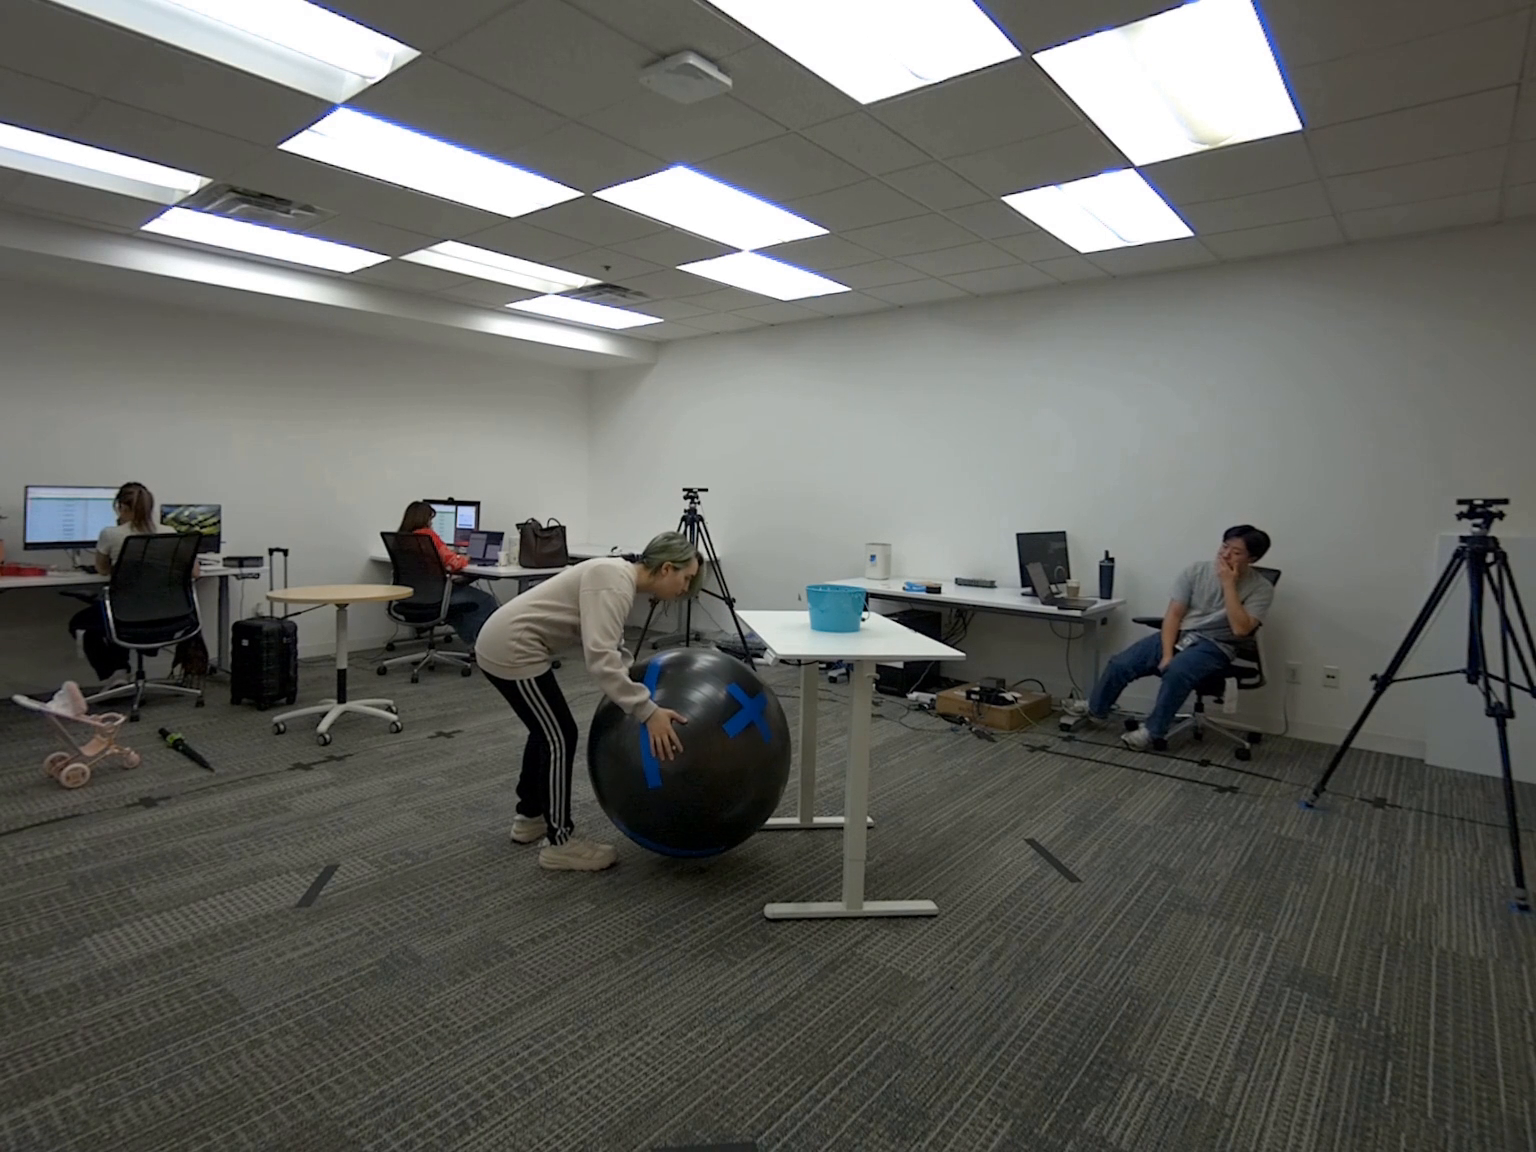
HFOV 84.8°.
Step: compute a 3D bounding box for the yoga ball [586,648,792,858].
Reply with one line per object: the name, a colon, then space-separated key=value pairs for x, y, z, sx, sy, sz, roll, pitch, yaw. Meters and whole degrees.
yoga ball: x=-0.304 y=0.645 z=3.171 sx=0.757 sy=0.755 sz=0.762 roll=1 pitch=4 yaw=-2
